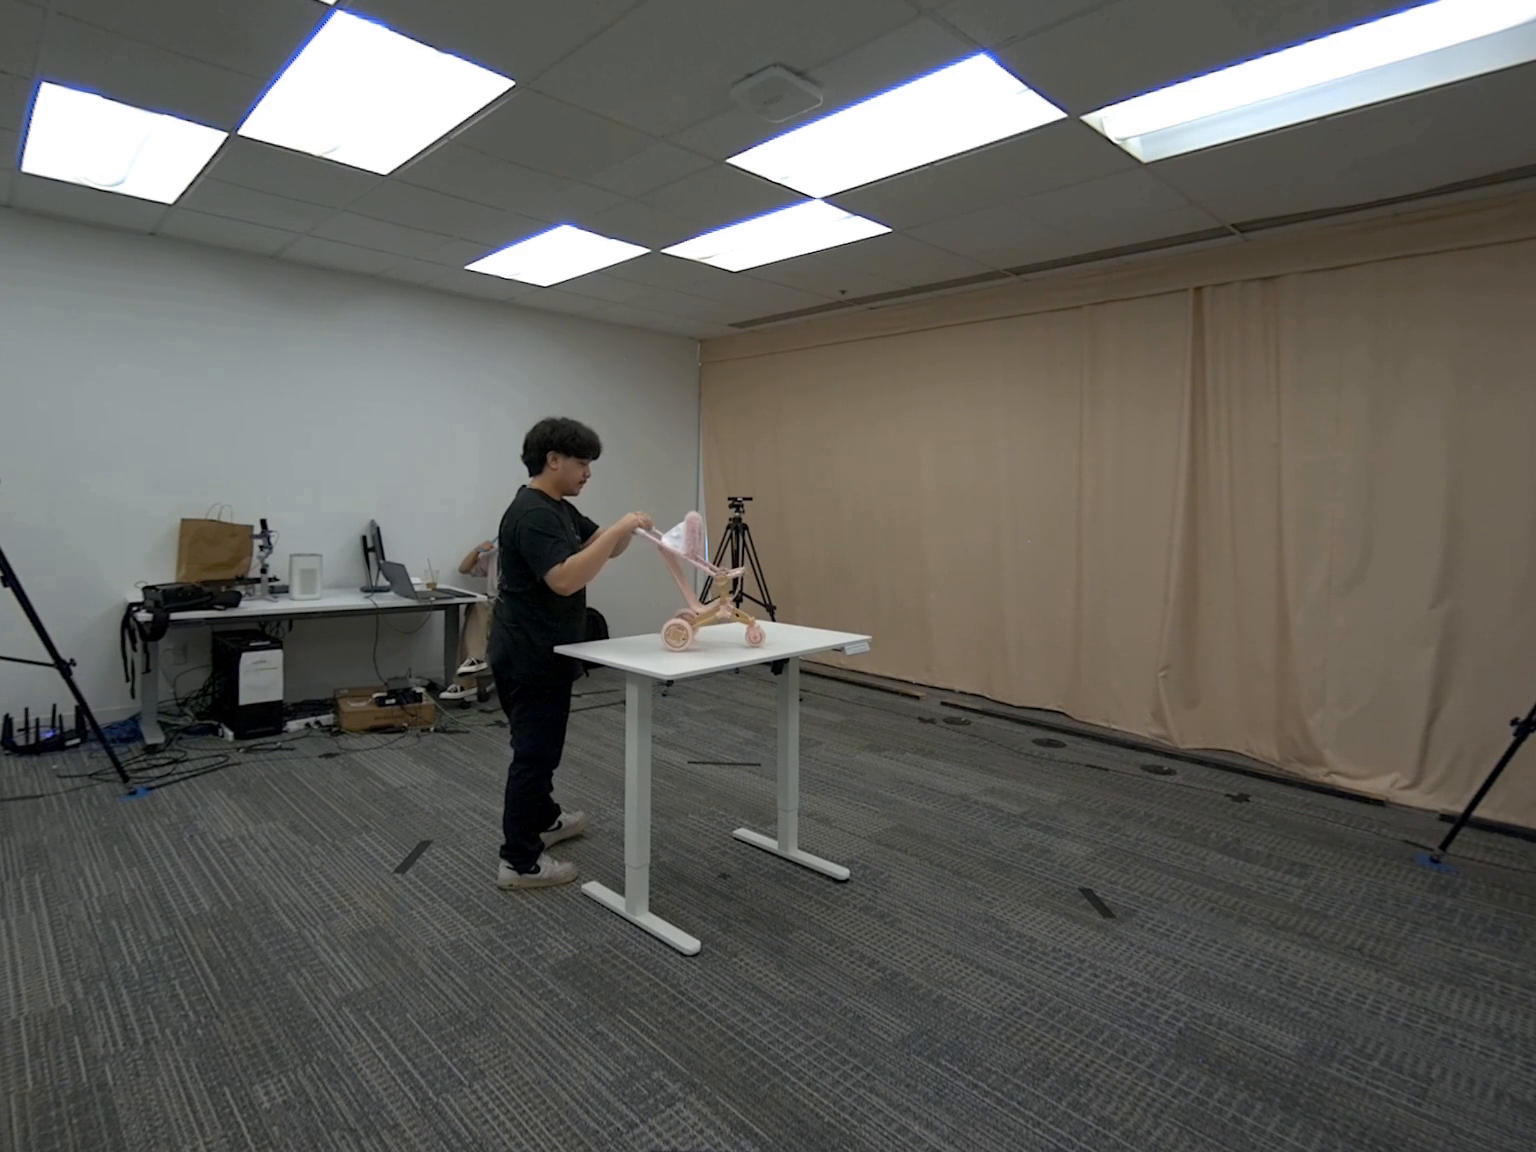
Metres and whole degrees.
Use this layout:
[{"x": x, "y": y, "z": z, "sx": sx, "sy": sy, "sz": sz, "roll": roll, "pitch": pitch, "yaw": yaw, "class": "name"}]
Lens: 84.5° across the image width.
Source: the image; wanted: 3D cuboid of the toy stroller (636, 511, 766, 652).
[{"x": -0.244, "y": 0.021, "z": 2.888, "sx": 0.343, "sy": 0.534, "sz": 0.281, "roll": -15, "pitch": 2, "yaw": 8, "class": "toy stroller"}]
